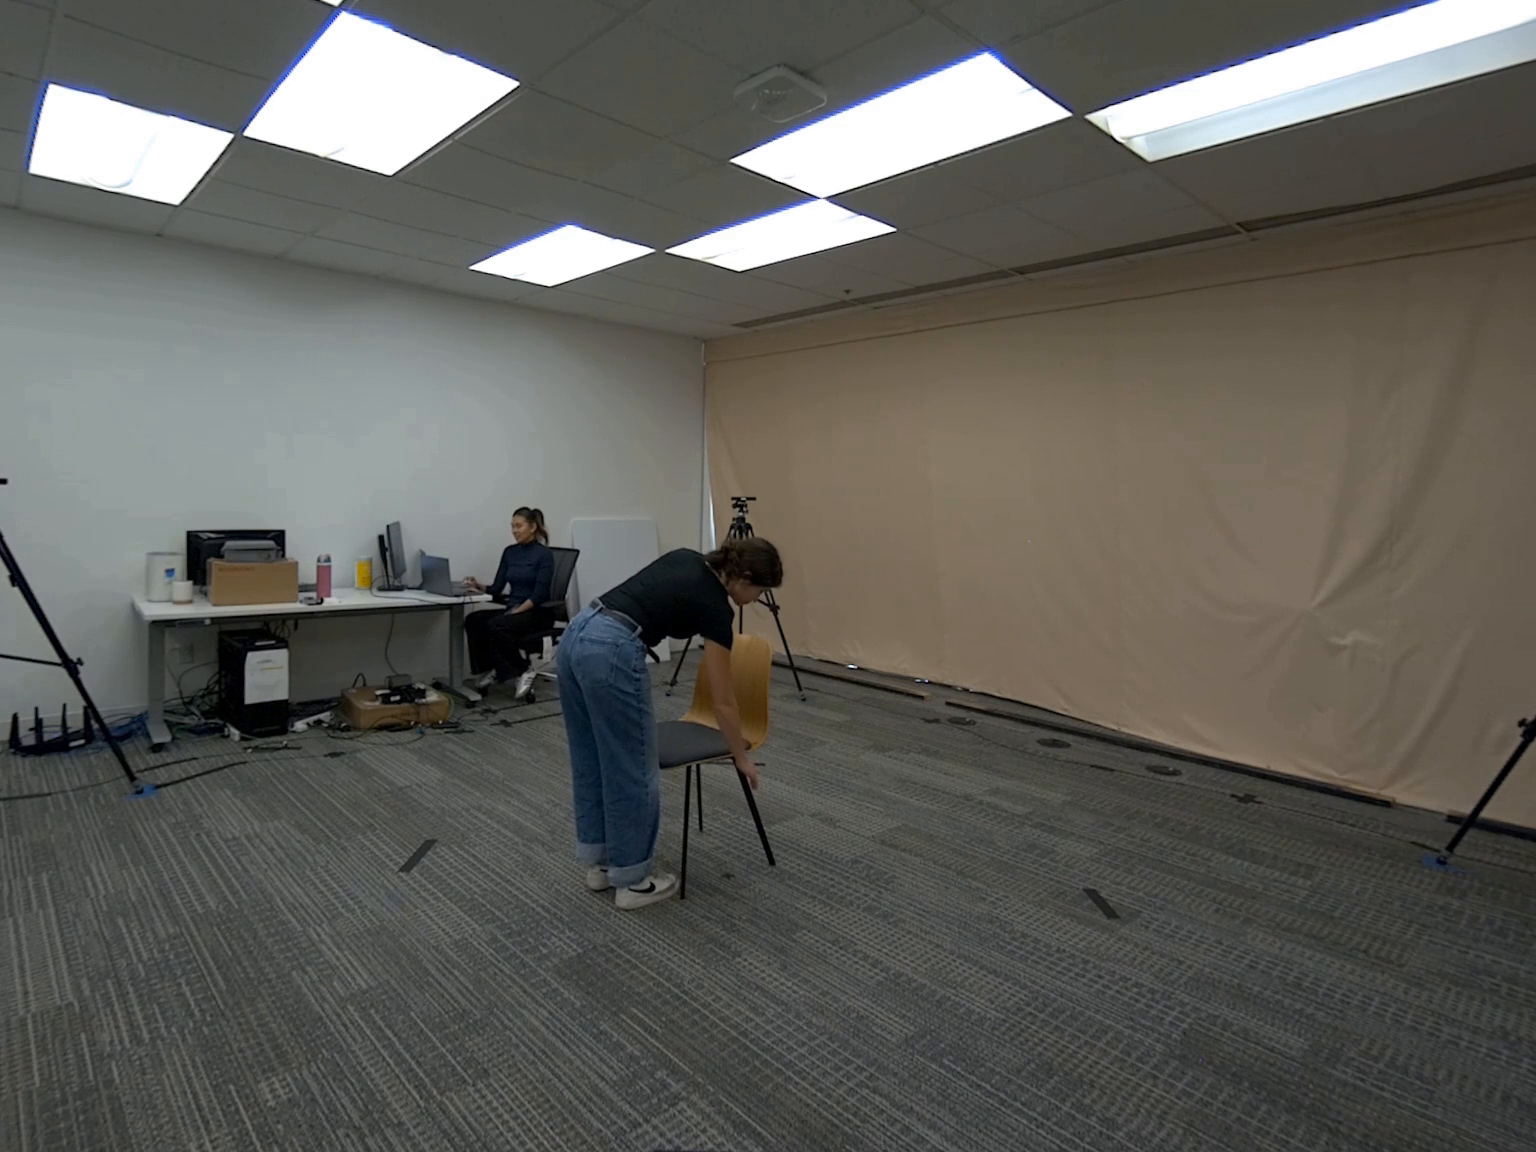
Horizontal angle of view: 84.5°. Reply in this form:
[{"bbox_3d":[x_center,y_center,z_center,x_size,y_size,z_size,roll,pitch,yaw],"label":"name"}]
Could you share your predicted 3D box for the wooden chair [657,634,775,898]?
[{"bbox_3d":[-0.288,0.669,3.190,0.510,0.877,0.490,4,1,-42],"label":"wooden chair"}]
